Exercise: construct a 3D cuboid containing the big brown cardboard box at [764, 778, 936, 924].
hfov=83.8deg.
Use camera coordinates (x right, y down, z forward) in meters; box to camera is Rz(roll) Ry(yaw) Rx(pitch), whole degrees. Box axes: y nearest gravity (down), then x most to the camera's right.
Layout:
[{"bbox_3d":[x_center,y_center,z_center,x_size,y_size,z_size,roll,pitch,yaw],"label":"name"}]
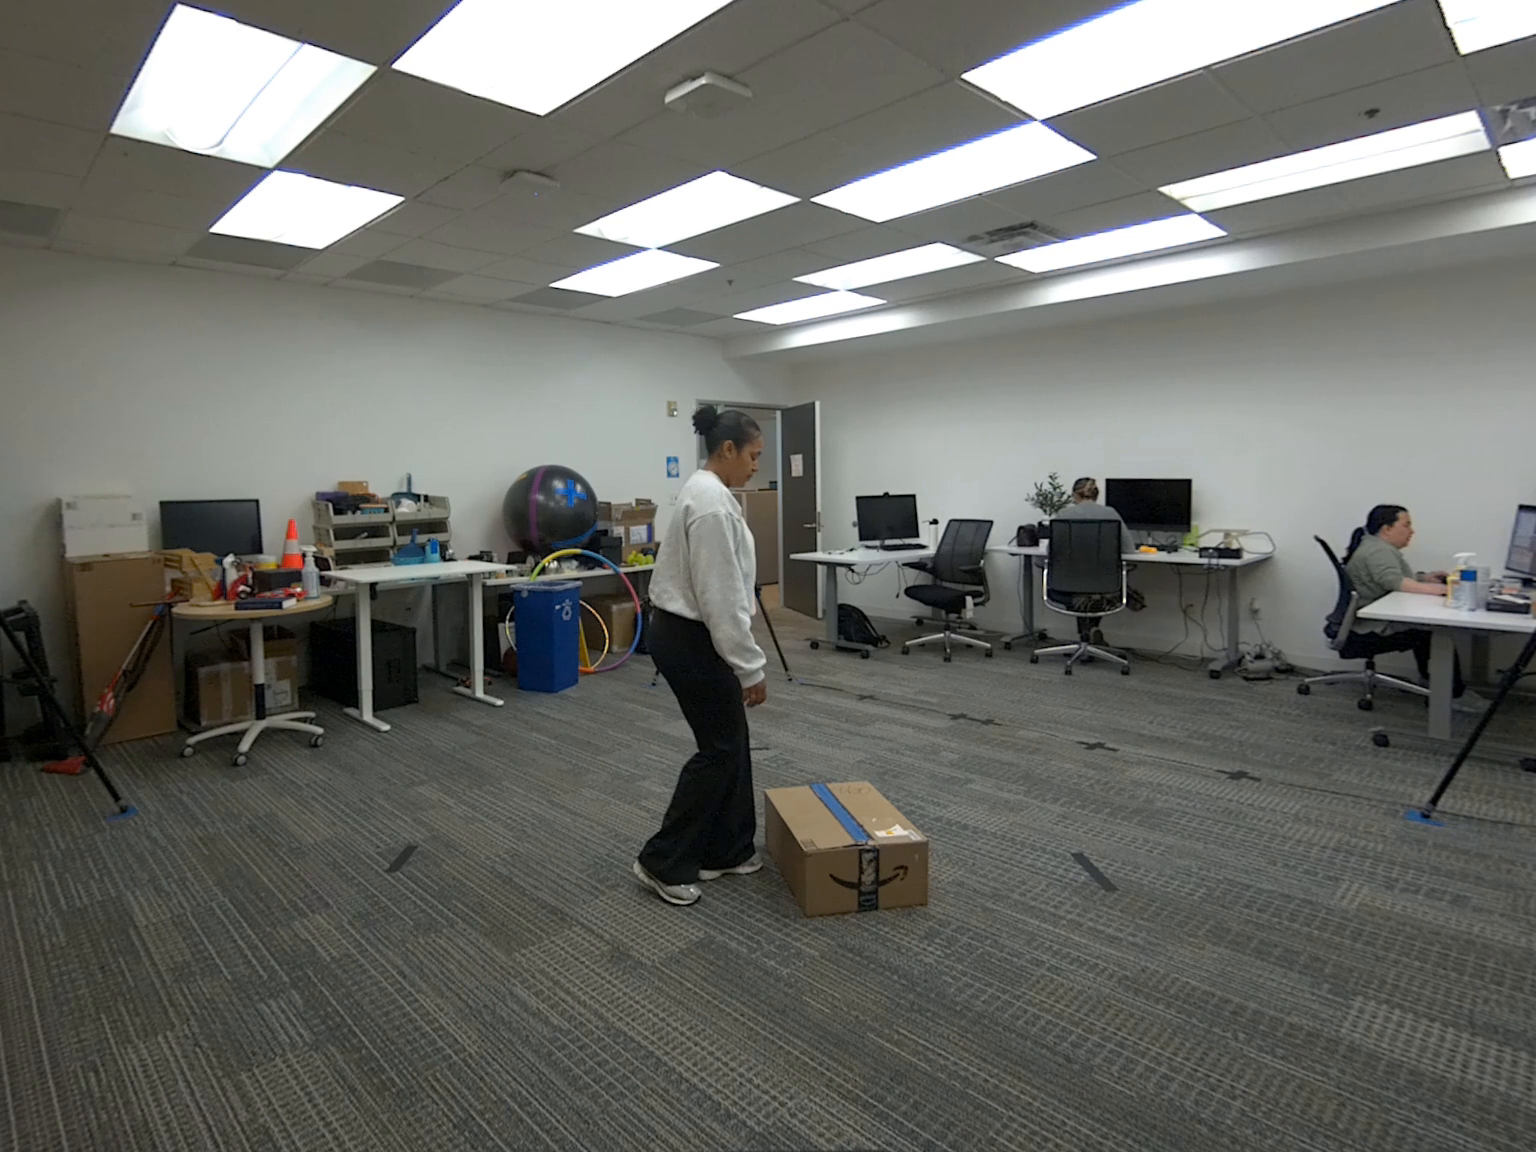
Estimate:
[{"bbox_3d":[0.262,0.938,3.013,0.413,0.232,0.598,-2,5,-12],"label":"big brown cardboard box"}]
